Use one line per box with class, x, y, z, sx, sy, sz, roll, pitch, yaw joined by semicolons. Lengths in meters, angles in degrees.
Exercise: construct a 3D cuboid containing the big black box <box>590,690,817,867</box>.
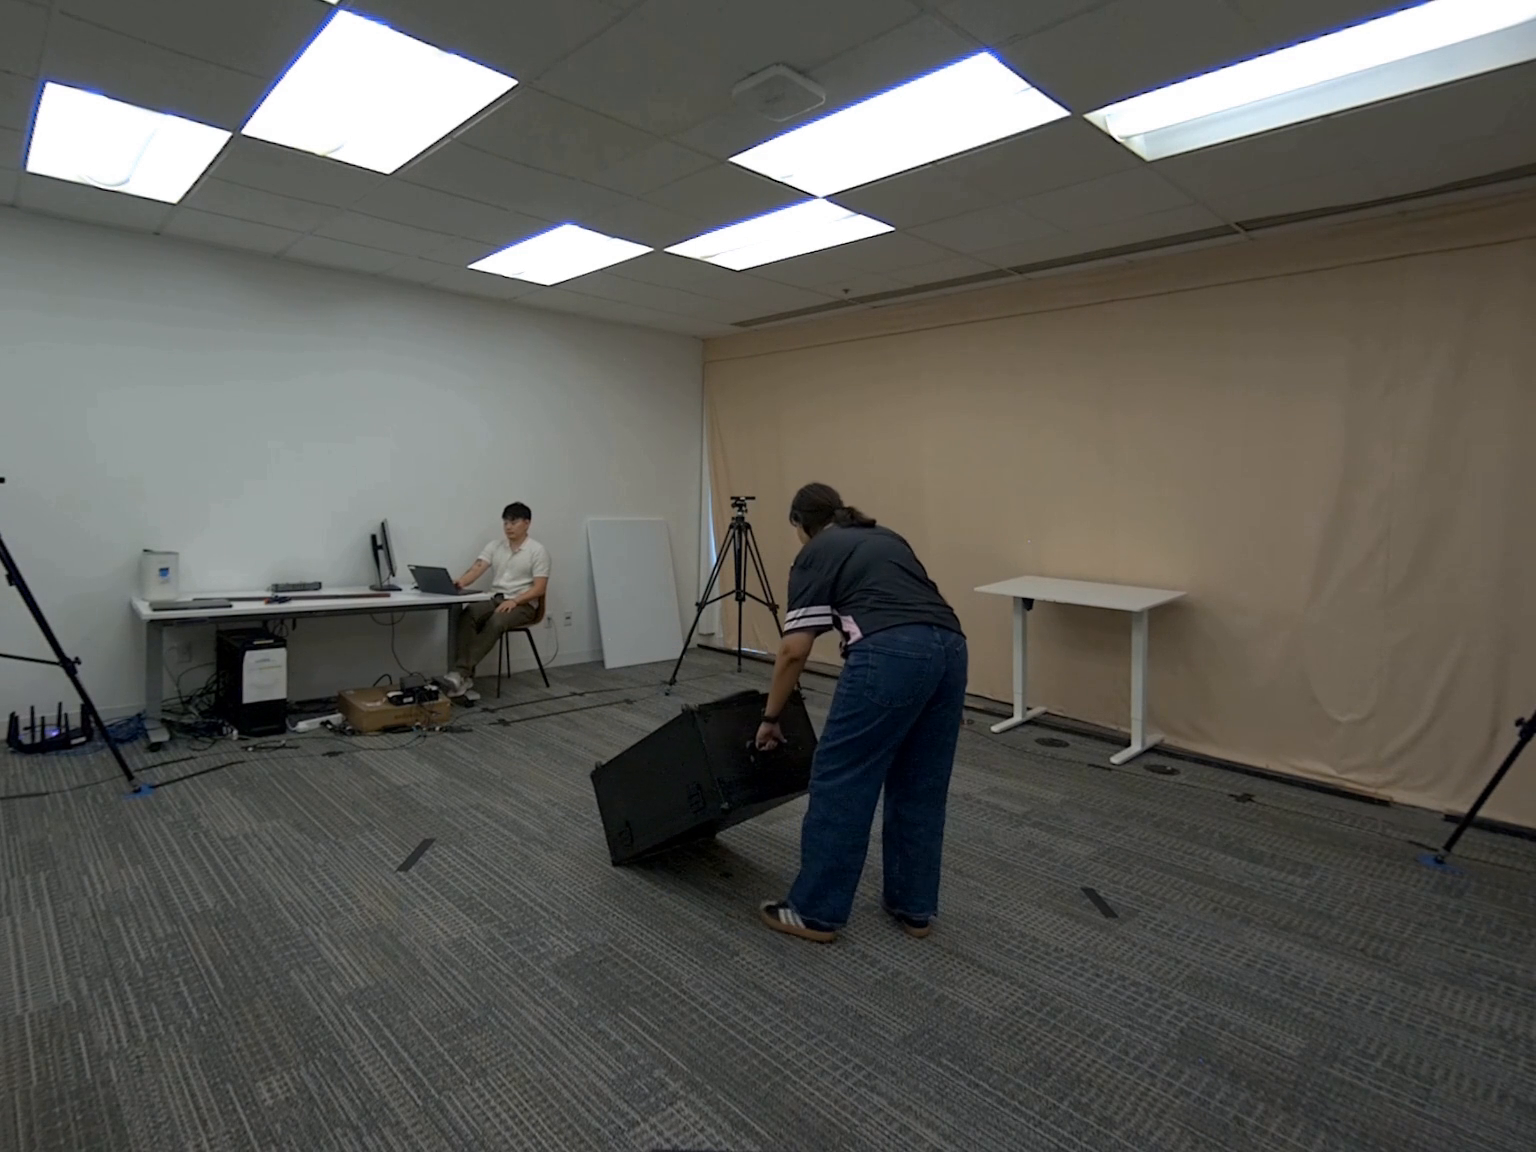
big black box;-0.269;0.759;3.130;0.512;0.392;0.872;-4;-24;-41
